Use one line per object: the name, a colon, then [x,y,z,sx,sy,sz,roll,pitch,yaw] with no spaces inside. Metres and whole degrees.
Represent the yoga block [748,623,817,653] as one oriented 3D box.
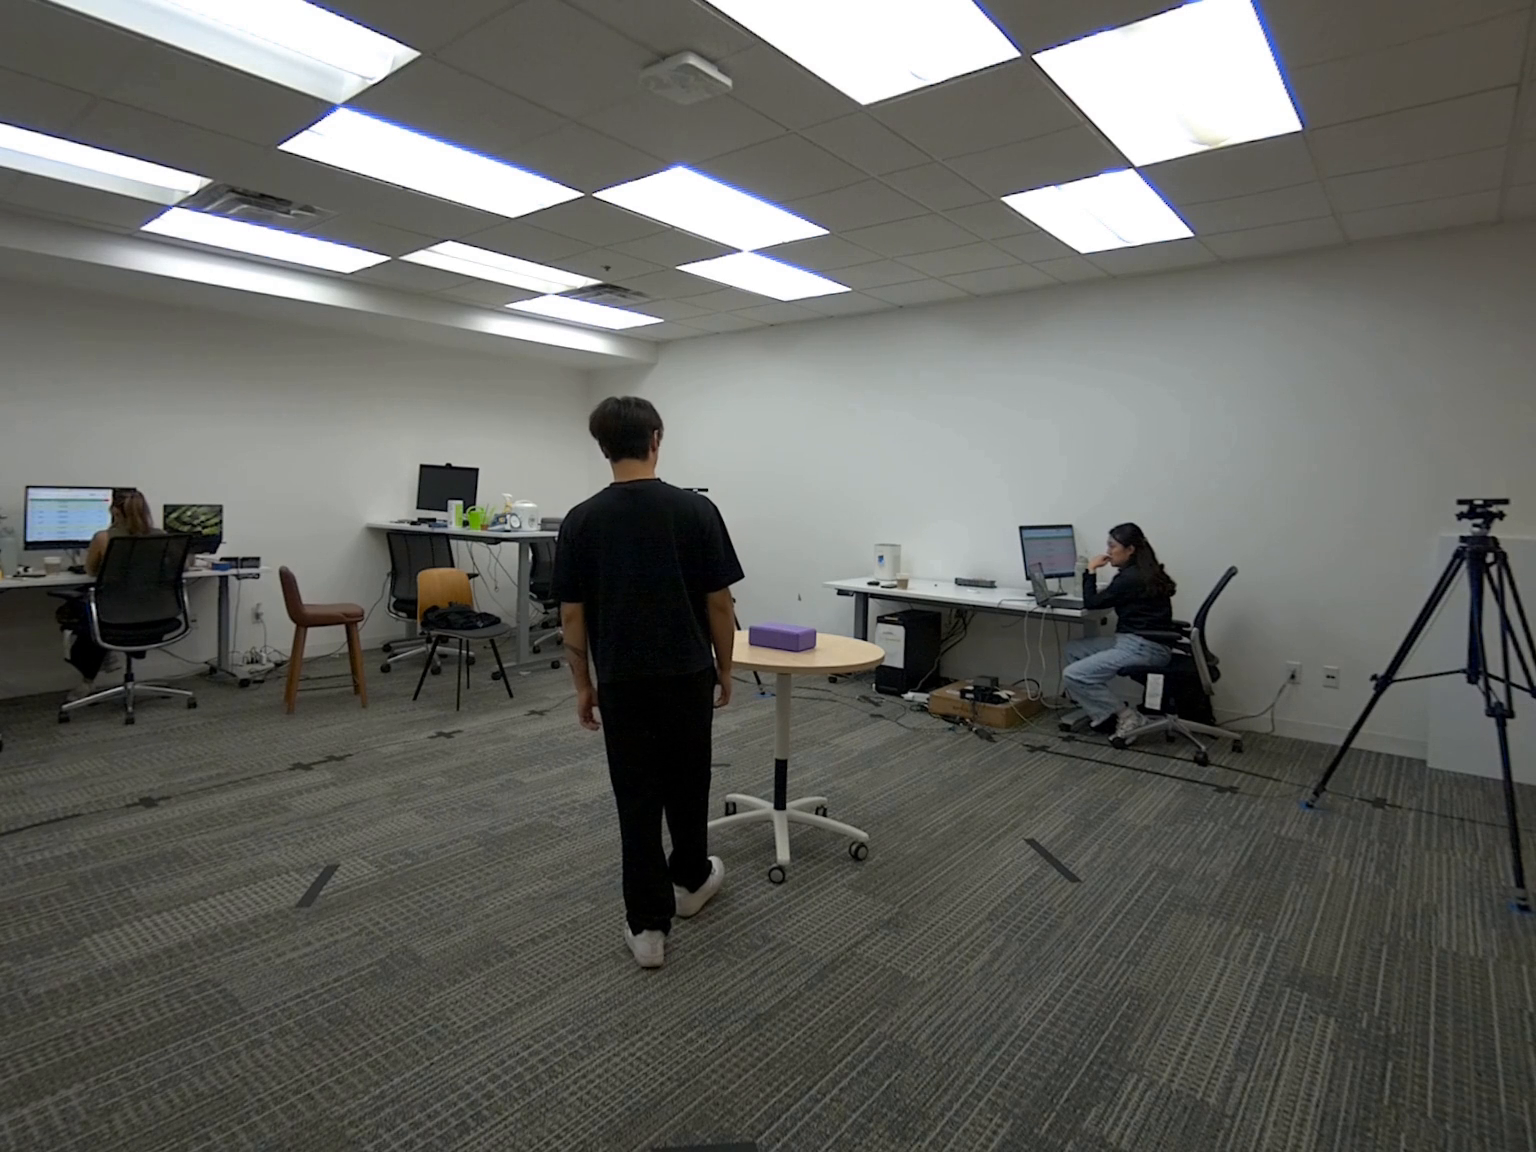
yoga block: [0.047,0.233,3.313,0.237,0.076,0.145,5,5,34]
